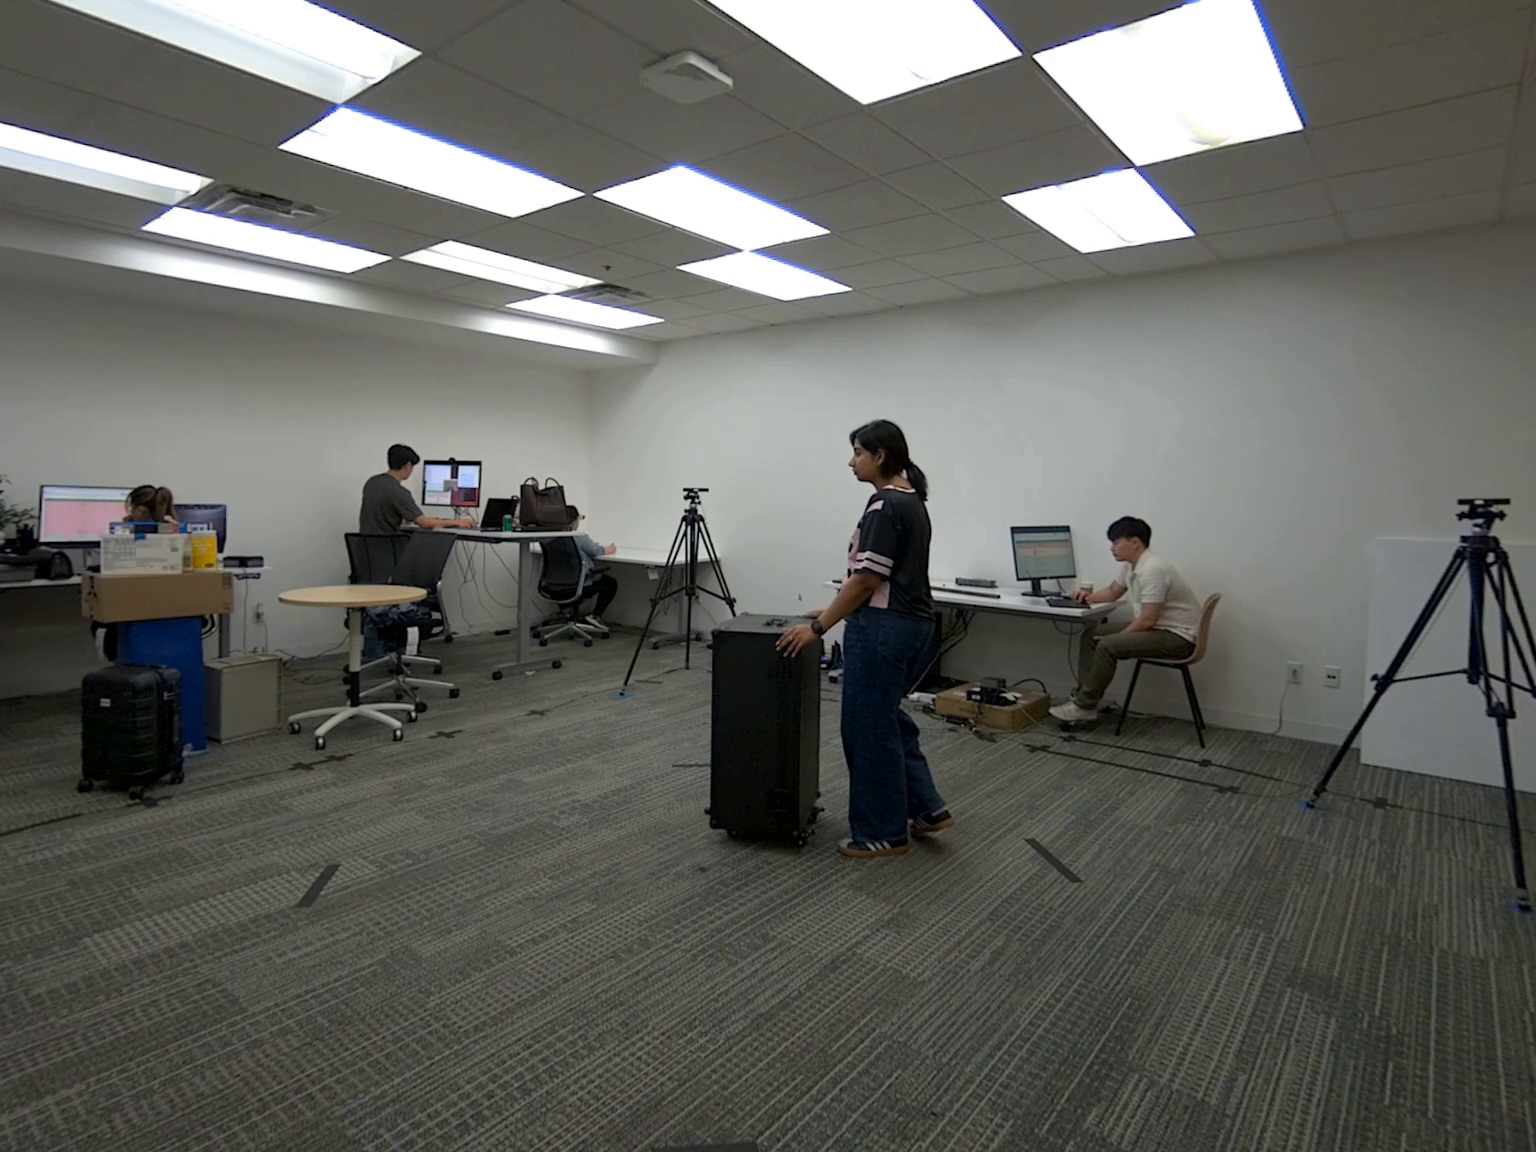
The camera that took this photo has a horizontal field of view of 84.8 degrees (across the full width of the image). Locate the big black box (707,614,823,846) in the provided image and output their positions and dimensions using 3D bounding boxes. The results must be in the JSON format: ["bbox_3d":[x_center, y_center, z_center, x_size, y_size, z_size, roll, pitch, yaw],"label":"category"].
[{"bbox_3d":[-0.013,0.616,3.475,0.391,0.866,0.517,1,3,13],"label":"big black box"}]
